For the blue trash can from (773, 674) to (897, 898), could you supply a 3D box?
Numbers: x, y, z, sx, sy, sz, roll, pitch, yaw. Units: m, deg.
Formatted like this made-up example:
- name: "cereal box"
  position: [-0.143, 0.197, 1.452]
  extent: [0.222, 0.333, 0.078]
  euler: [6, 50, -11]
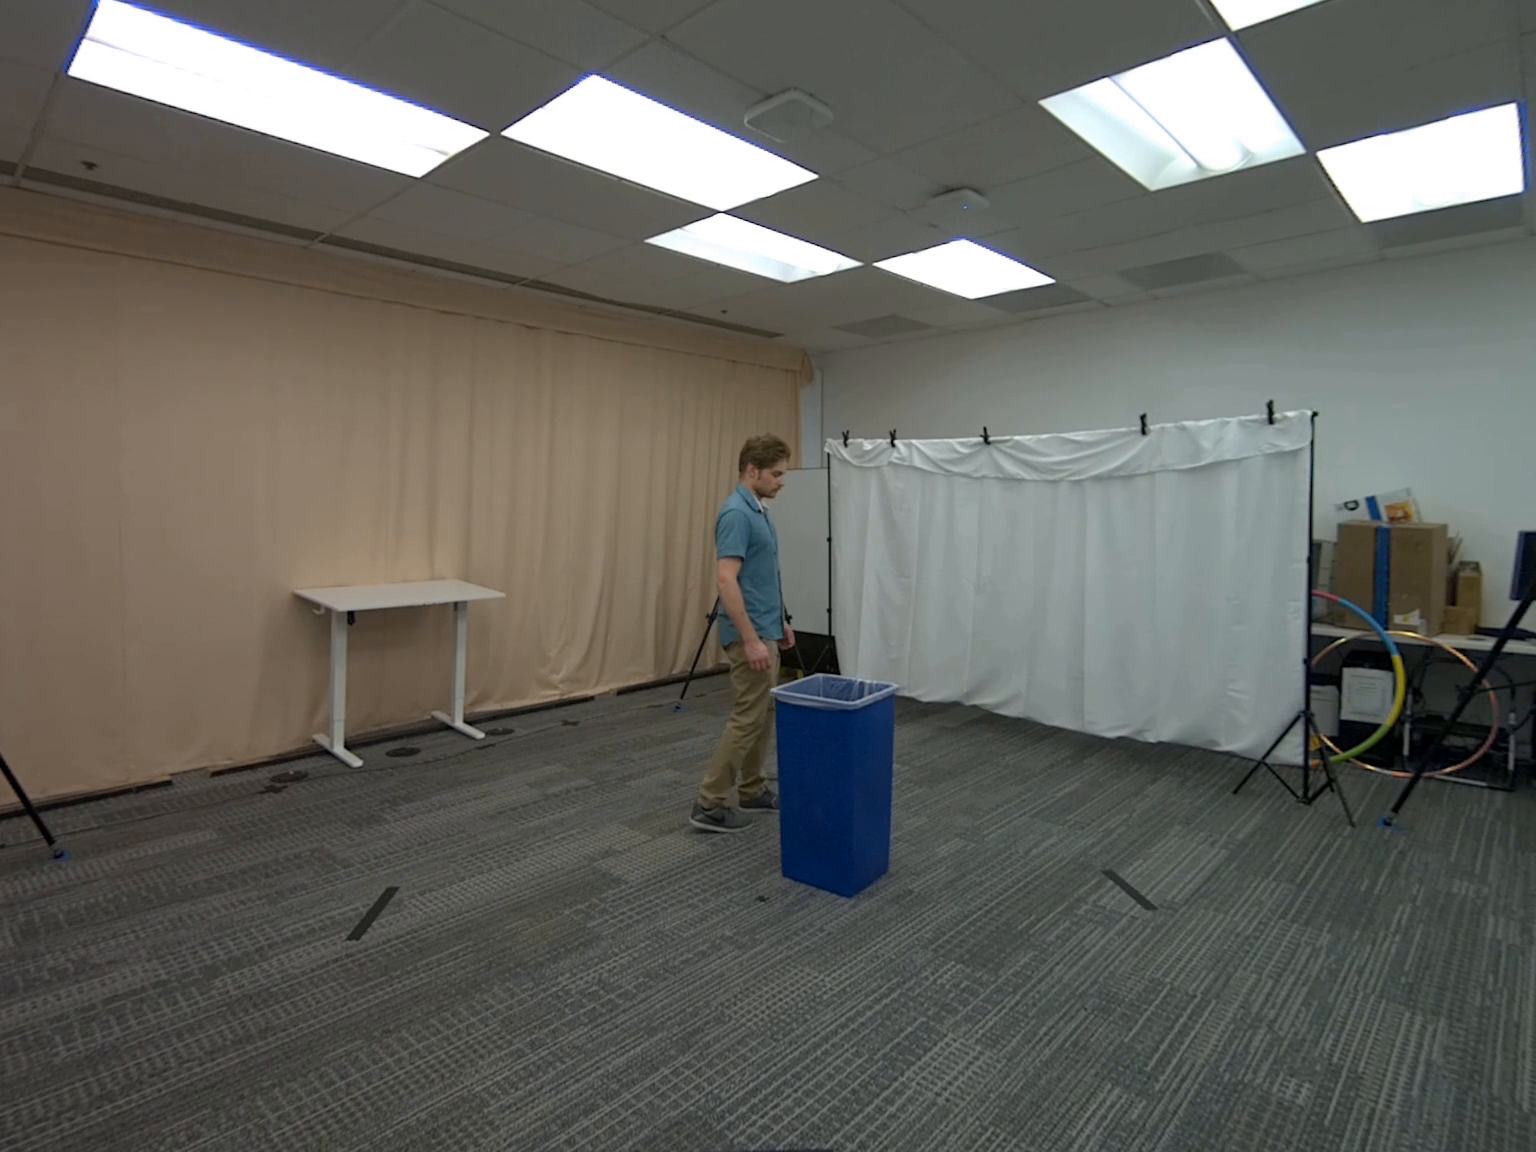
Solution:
- name: "blue trash can"
  position: [0.257, 0.770, 3.157]
  extent: [0.390, 0.712, 0.363]
  euler: [2, 4, 36]
